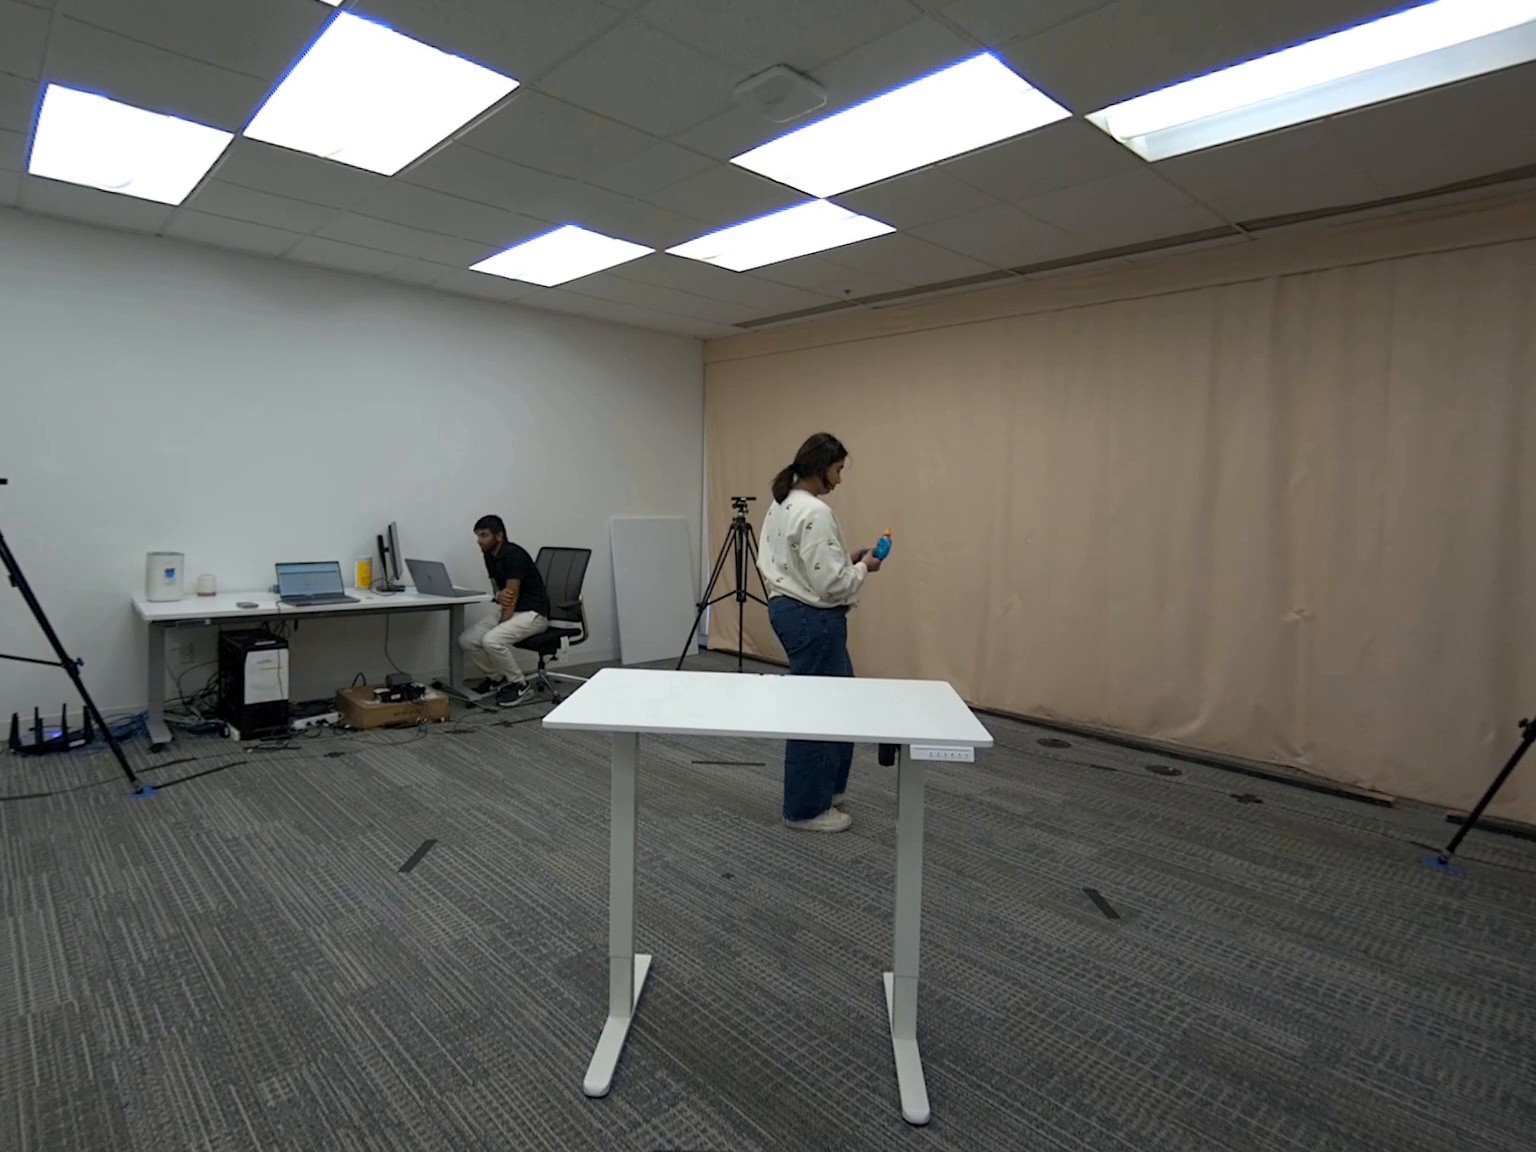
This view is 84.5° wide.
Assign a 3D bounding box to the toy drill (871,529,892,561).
[{"bbox_3d":[0.460,-0.139,3.588,0.060,0.171,0.148,32,-27,-26],"label":"toy drill"}]
